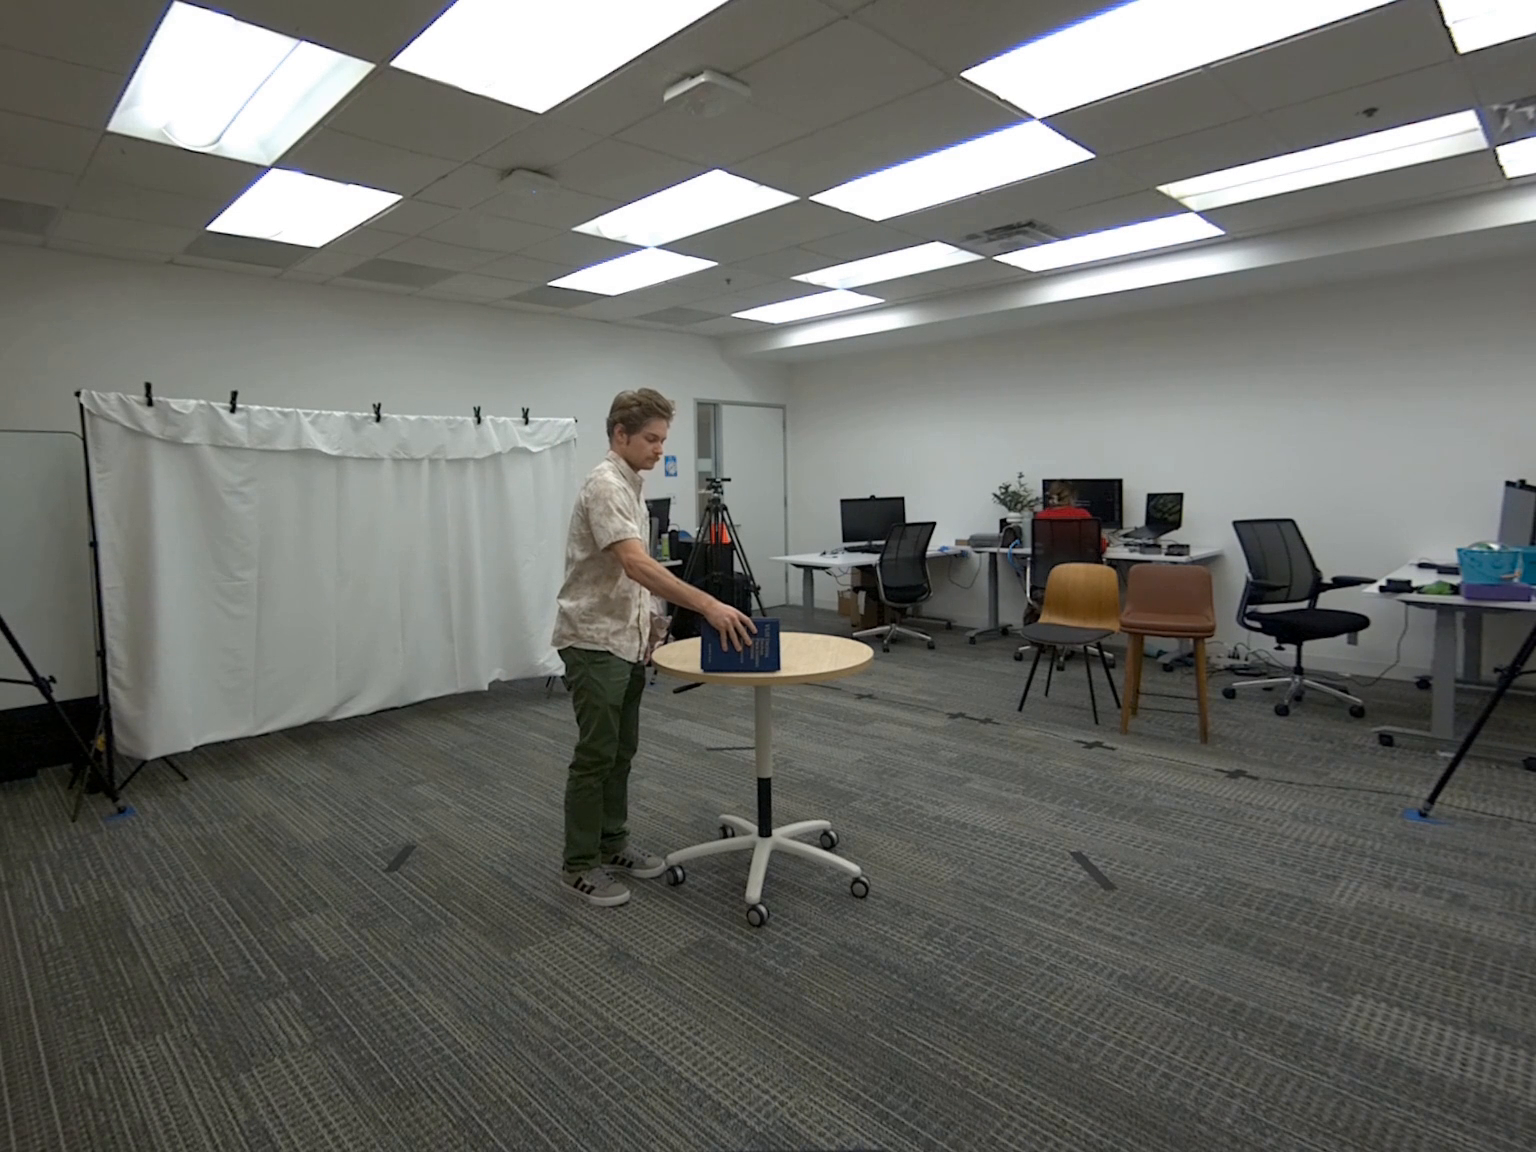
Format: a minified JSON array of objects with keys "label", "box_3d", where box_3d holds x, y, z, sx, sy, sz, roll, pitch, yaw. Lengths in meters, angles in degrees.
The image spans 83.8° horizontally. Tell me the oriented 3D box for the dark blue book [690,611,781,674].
[{"label":"dark blue book","box_3d":[-0.092,0.212,2.669,0.245,0.164,0.045,1,-4,0]}]
